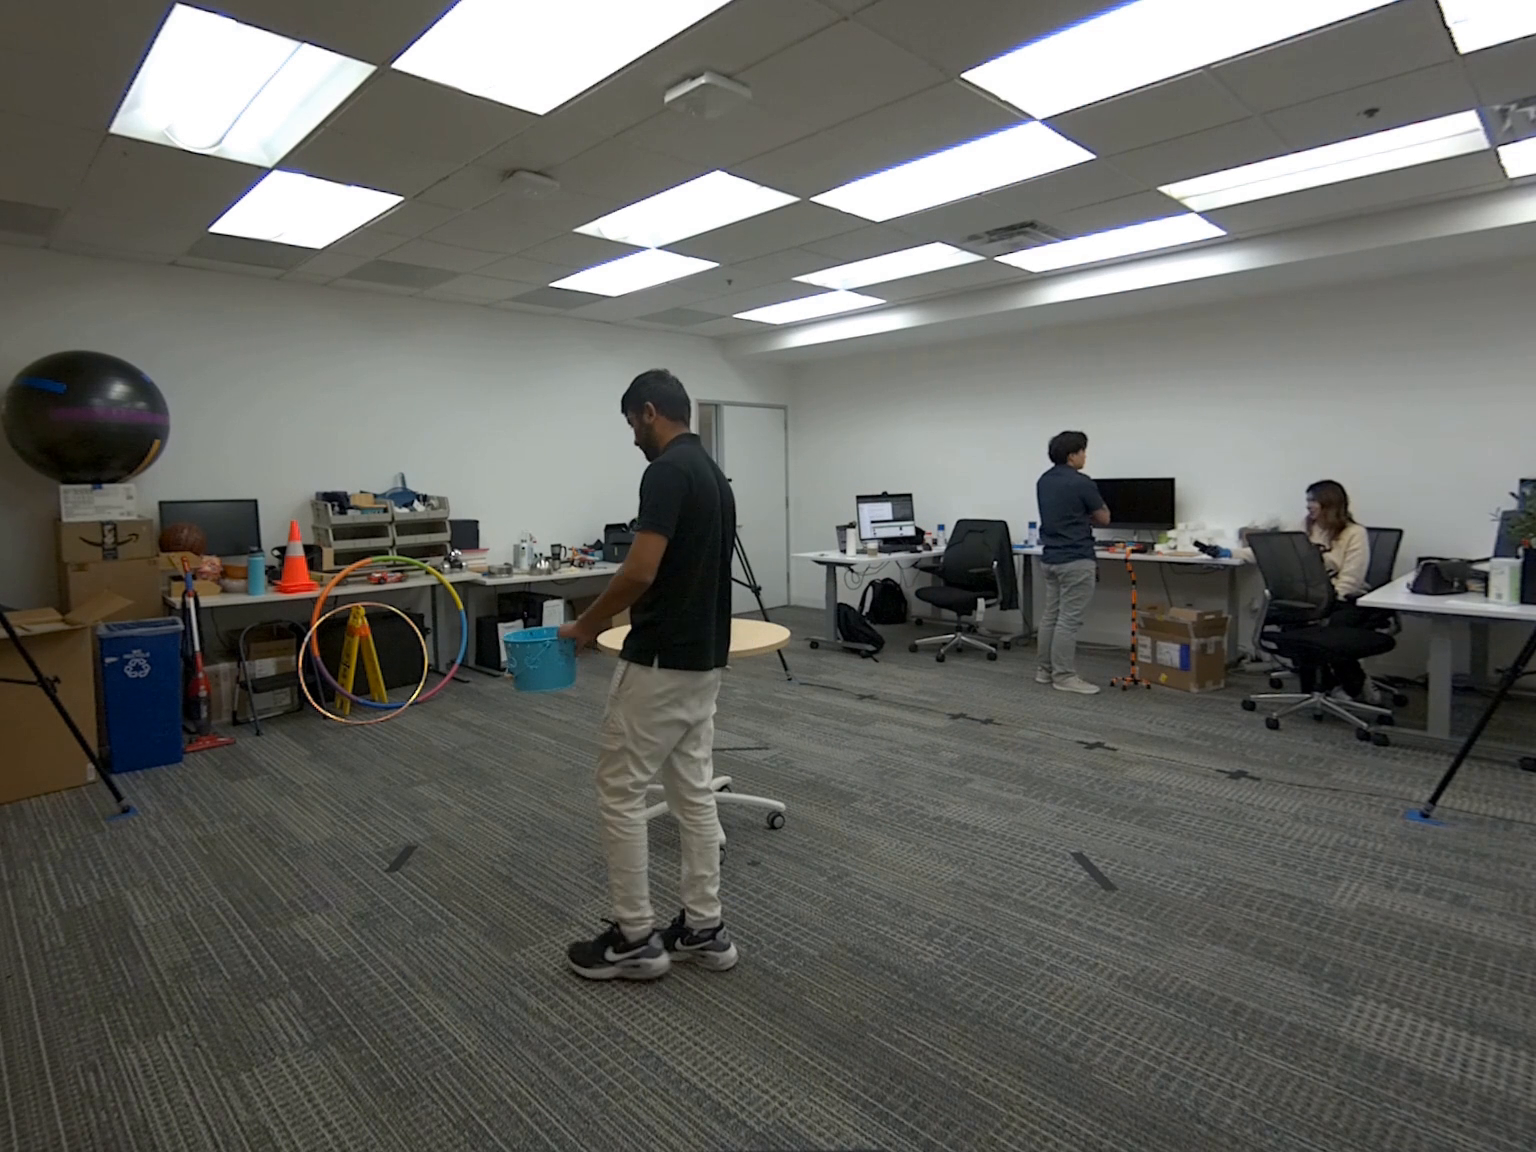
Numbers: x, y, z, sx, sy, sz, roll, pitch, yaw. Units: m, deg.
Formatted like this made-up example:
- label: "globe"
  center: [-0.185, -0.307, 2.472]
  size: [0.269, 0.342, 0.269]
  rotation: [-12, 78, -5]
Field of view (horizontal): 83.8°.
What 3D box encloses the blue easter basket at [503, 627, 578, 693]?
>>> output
- label: "blue easter basket"
  center: [-0.651, 0.241, 2.485]
  size: [0.243, 0.155, 0.245]
  rotation: [-3, 7, -1]
